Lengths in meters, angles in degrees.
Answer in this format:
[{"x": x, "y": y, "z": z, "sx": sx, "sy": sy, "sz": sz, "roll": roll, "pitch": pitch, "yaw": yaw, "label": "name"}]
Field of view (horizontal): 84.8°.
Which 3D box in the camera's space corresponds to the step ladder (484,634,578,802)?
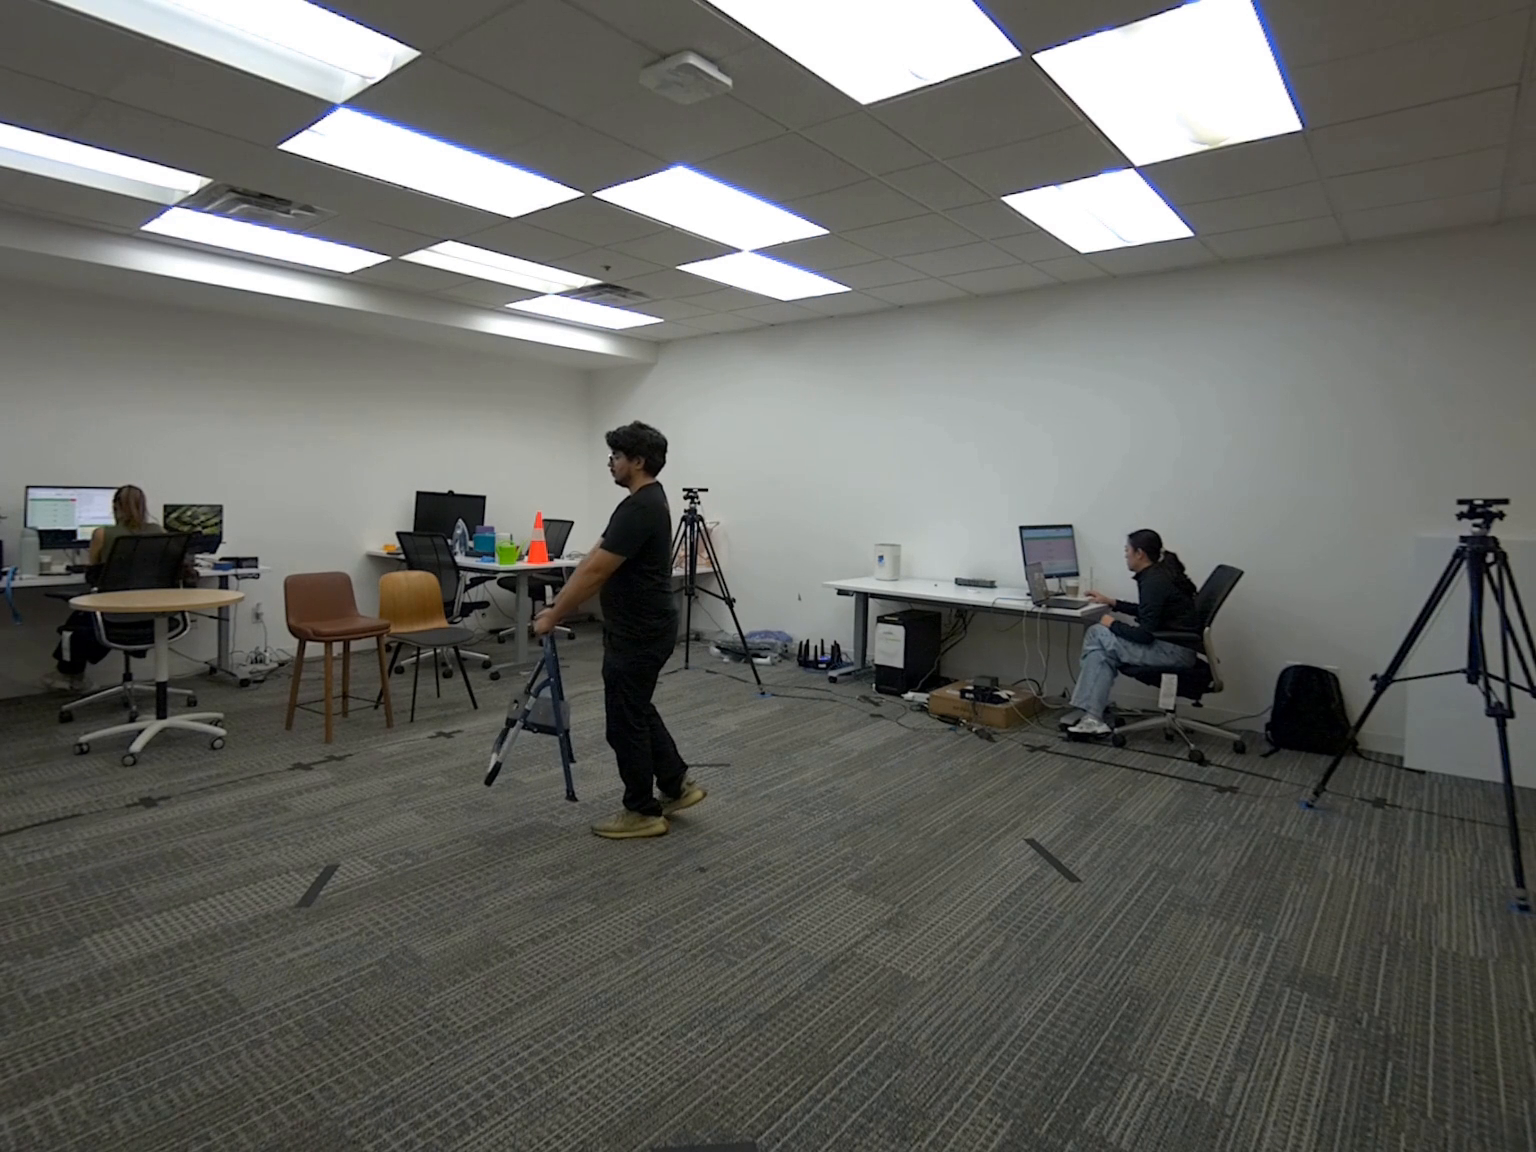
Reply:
[{"x": -0.878, "y": 0.497, "z": 3.368, "sx": 0.344, "sy": 0.605, "sz": 0.438, "roll": 13, "pitch": 3, "yaw": -14, "label": "step ladder"}]
